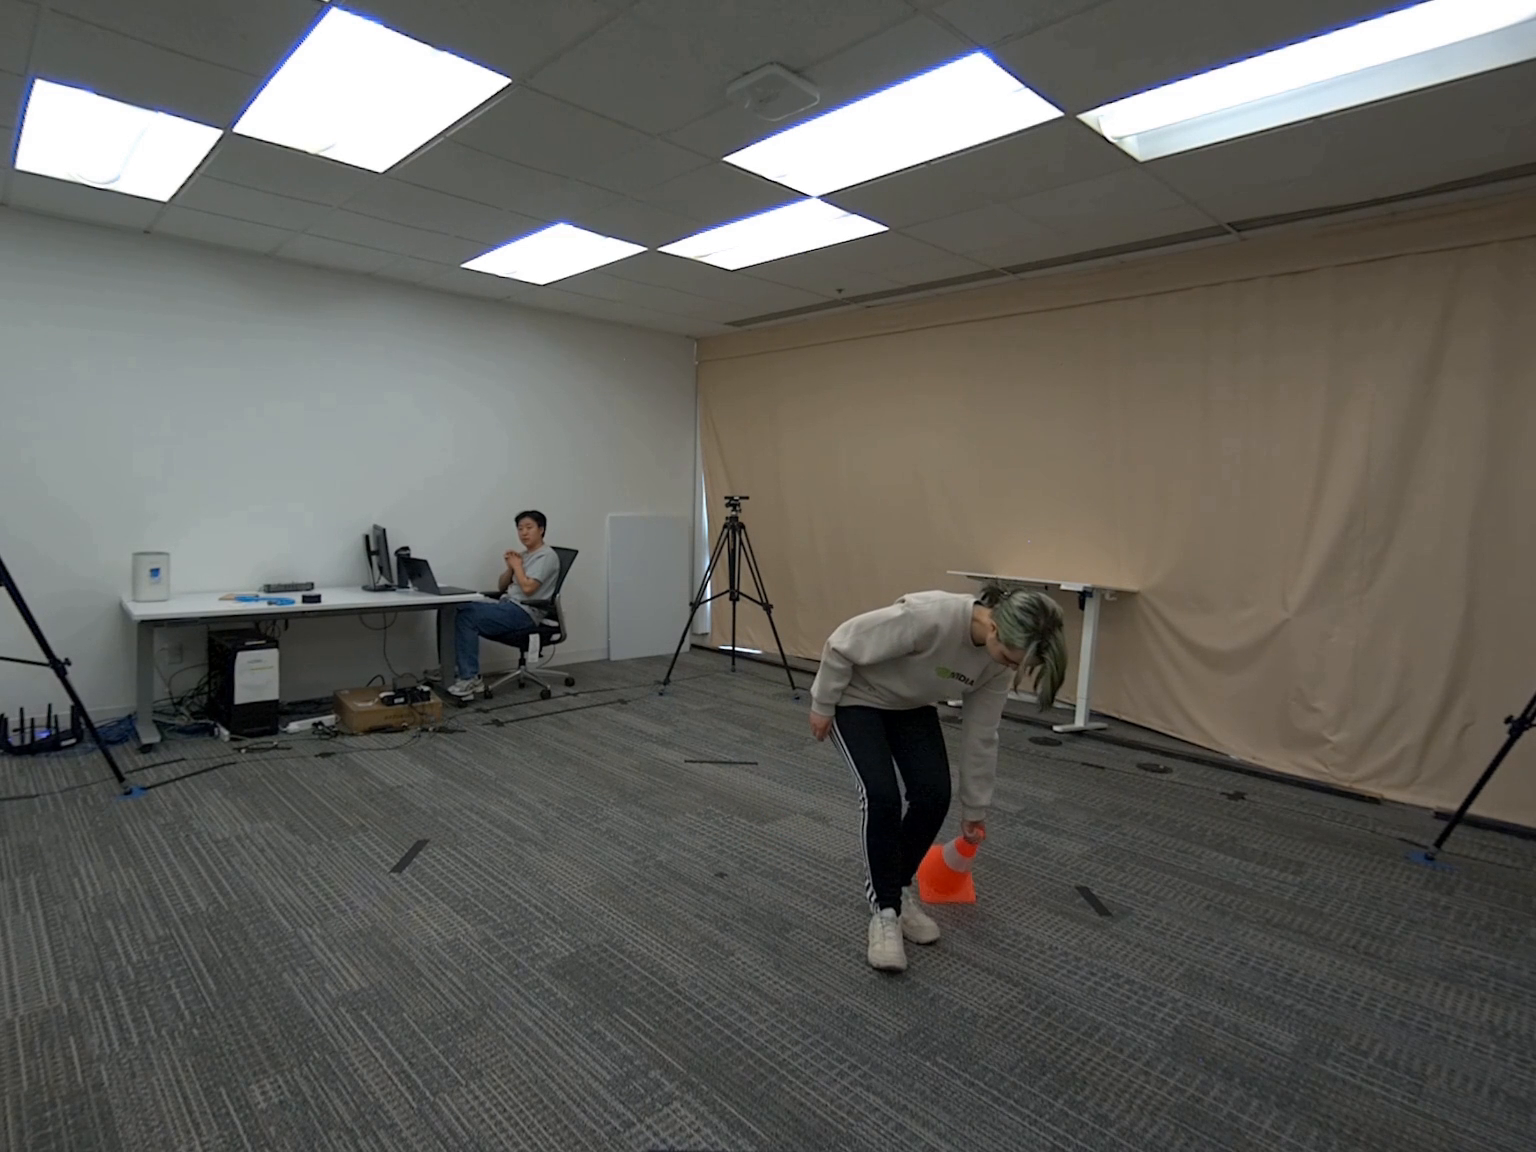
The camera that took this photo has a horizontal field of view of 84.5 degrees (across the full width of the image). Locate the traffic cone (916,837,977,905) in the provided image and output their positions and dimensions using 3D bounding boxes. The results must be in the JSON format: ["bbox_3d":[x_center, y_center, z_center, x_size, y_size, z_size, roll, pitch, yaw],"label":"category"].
[{"bbox_3d":[0.649,0.948,2.855,0.204,0.207,0.377,7,-37,-5],"label":"traffic cone"}]
